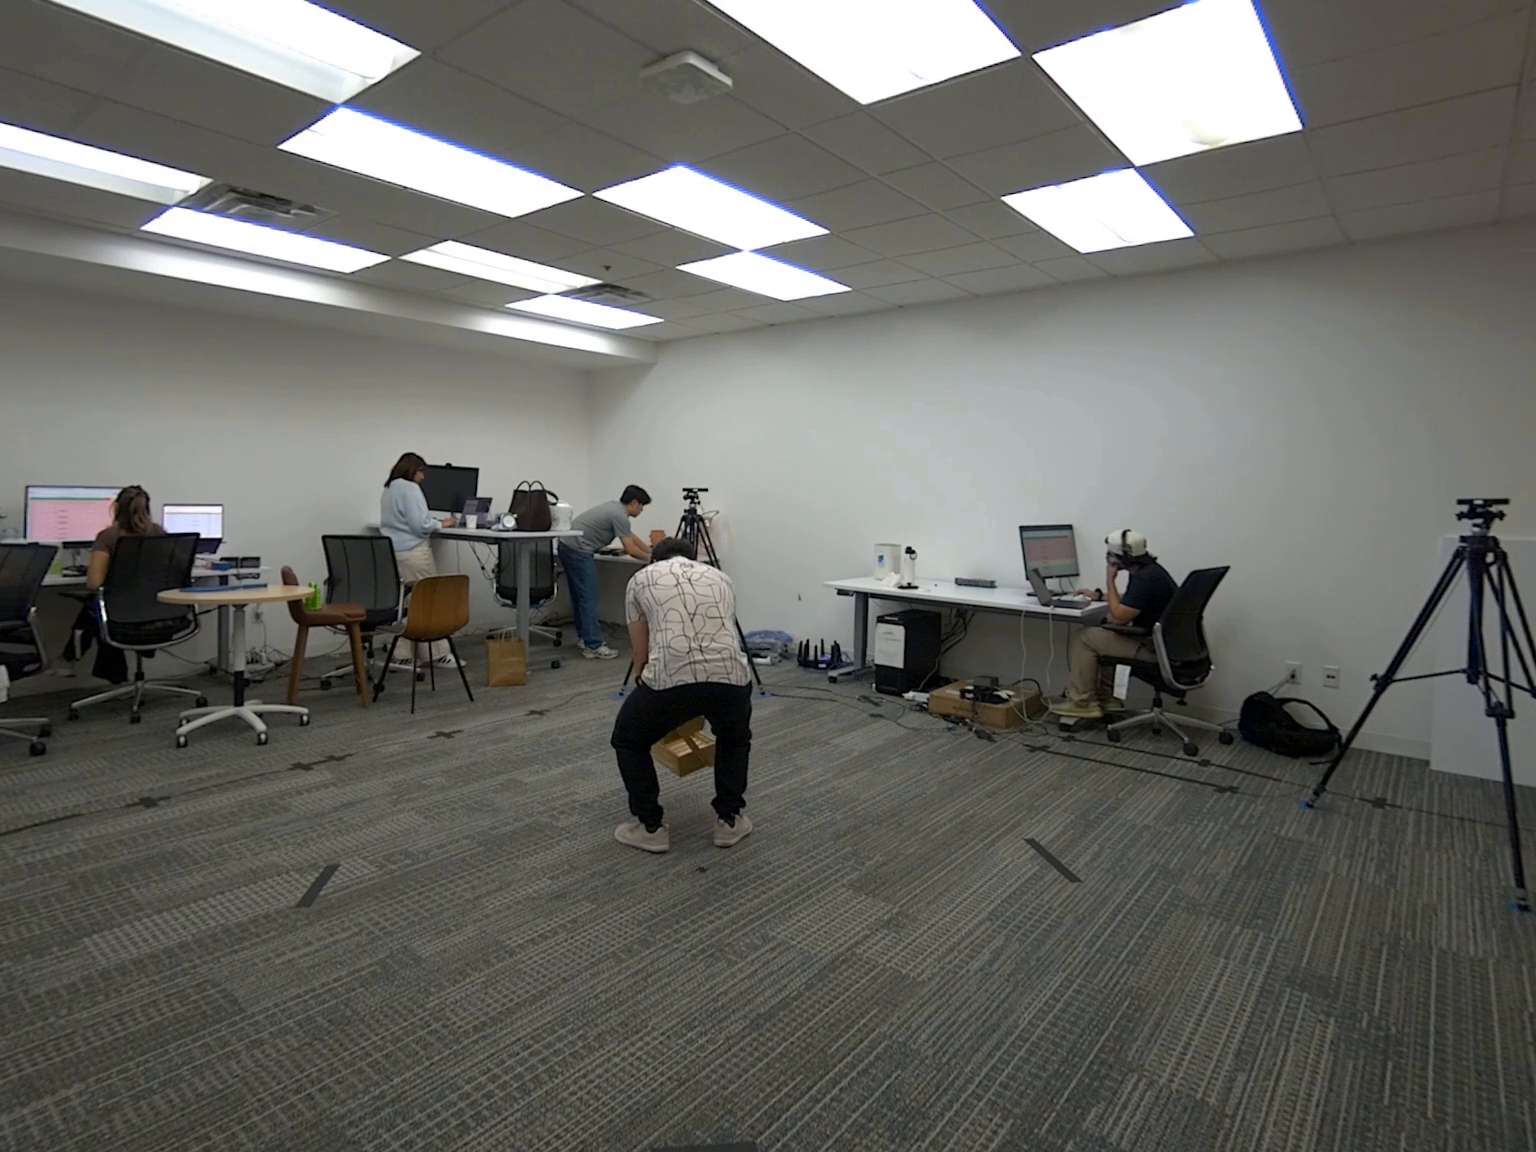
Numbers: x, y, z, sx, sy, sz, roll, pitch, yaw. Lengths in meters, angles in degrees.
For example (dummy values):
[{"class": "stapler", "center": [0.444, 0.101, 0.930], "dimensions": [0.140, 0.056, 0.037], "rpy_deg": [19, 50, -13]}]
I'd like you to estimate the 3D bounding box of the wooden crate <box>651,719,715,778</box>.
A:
[{"class": "wooden crate", "center": [-0.398, 0.667, 3.711], "dimensions": [0.296, 0.269, 0.336], "rpy_deg": [-16, 17, -32]}]
